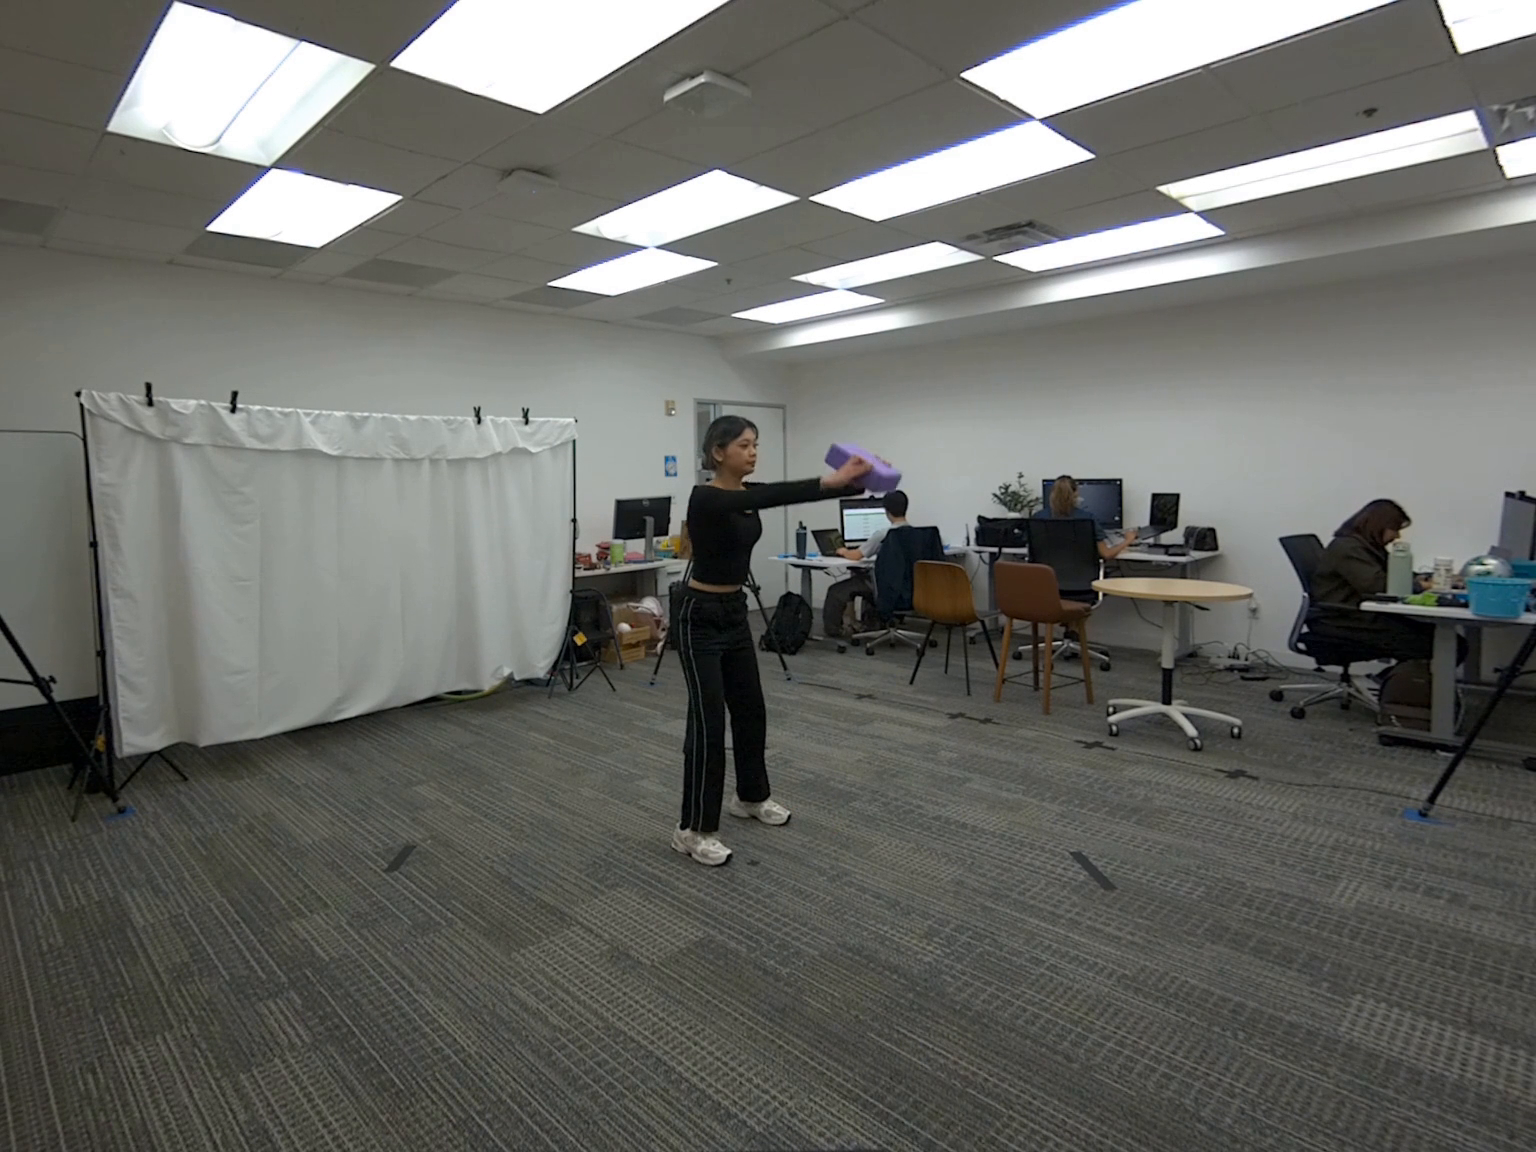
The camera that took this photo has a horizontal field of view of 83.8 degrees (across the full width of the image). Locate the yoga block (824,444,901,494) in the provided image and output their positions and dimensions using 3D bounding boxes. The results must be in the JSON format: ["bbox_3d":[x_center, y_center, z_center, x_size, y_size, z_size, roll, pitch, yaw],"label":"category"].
[{"bbox_3d":[0.312,-0.350,2.940,0.146,0.076,0.234,22,10,-15],"label":"yoga block"}]
